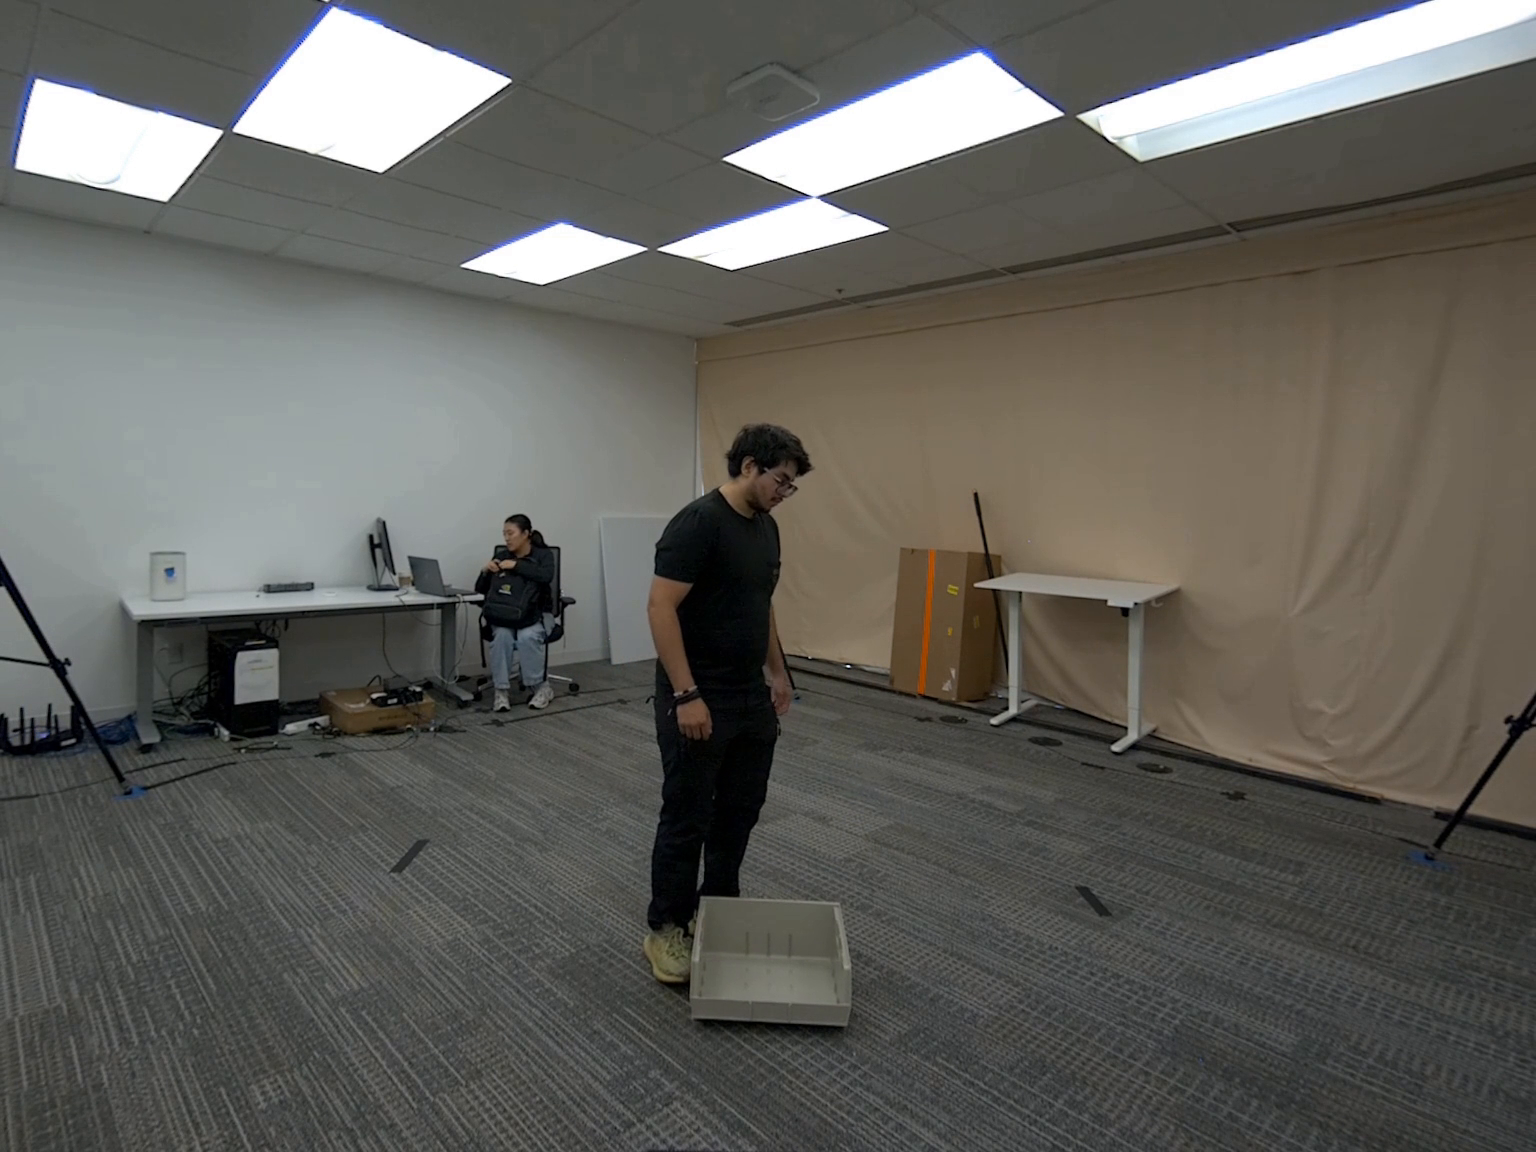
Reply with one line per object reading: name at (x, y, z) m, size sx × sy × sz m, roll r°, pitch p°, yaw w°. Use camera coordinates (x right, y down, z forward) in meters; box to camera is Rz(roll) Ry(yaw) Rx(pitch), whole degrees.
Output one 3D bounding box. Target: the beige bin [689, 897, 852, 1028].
beige bin at (0.006, 1.092, 2.355) m, size 0.423 × 0.188 × 0.378 m, roll 1°, pitch 4°, yaw 1°
